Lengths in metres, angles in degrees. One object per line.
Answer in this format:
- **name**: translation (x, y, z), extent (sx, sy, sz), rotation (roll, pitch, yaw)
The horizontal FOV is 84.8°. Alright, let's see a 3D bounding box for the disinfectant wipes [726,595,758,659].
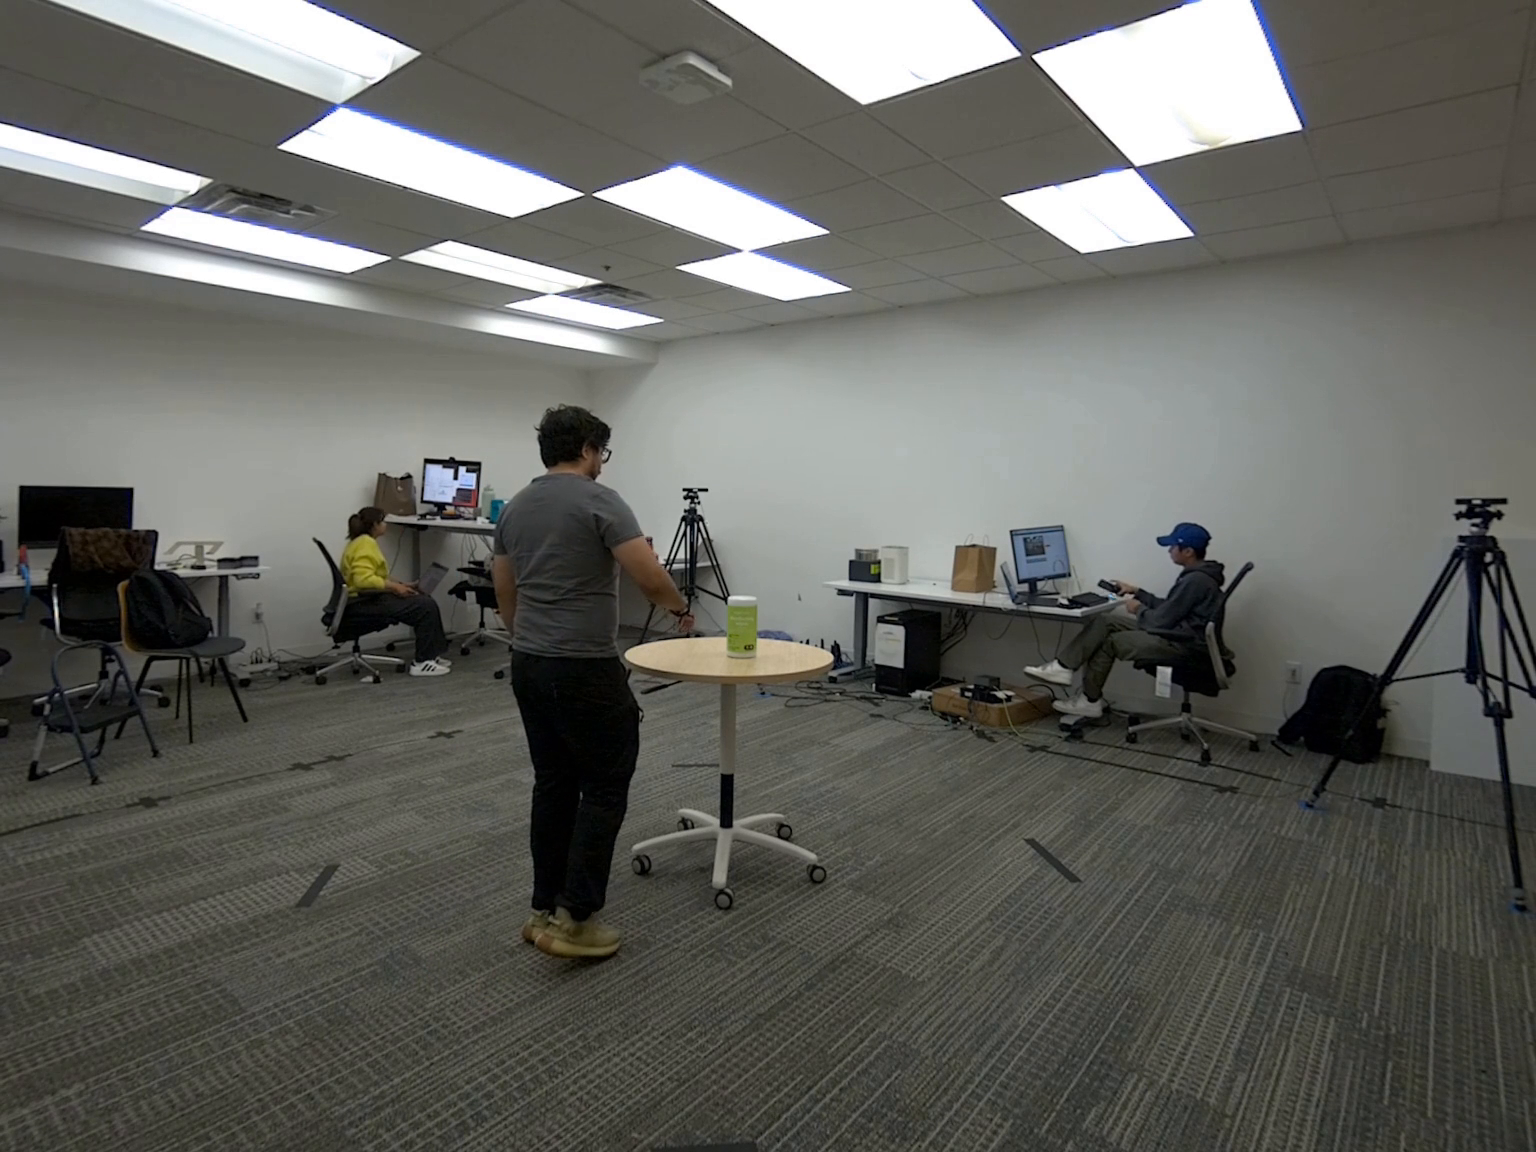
- **disinfectant wipes**: translation (-0.104, 0.181, 3.100), extent (0.118, 0.217, 0.118), rotation (0, 4, -2)
